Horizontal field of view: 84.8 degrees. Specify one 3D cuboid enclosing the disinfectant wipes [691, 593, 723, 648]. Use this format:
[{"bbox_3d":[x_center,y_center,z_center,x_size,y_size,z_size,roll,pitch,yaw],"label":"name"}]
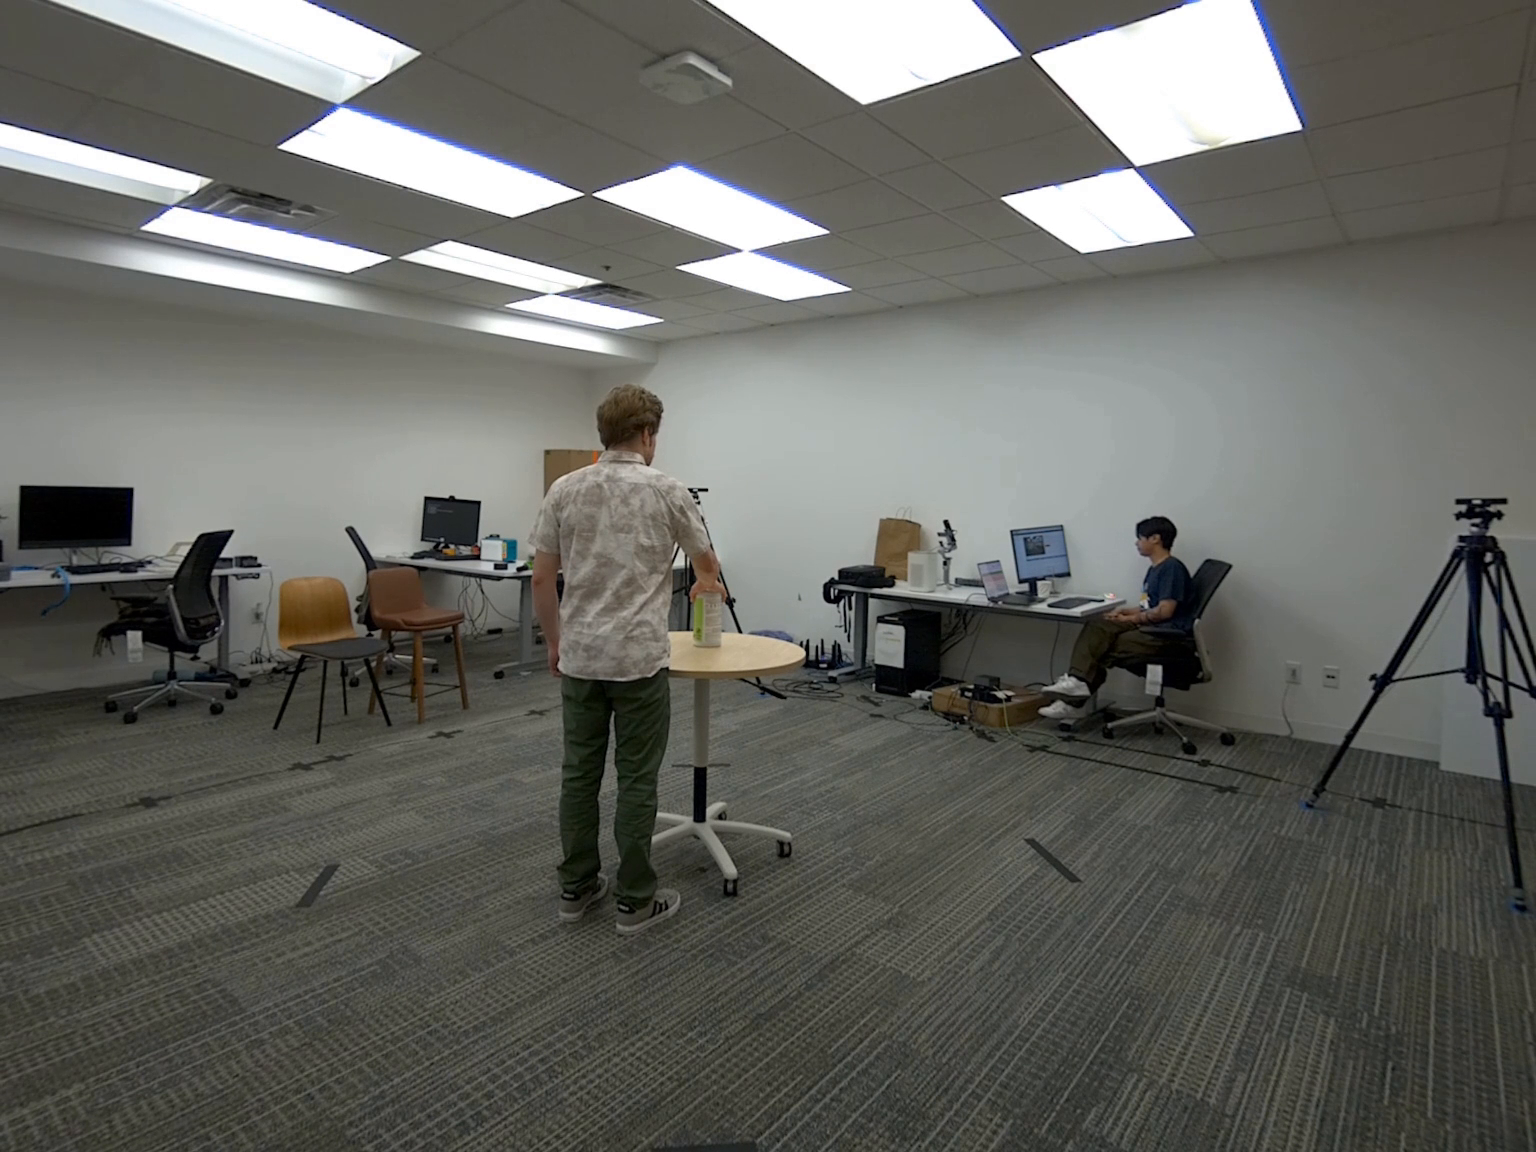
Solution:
[{"bbox_3d":[-0.237,0.156,3.246,0.118,0.216,0.118,-1,4,-2],"label":"disinfectant wipes"}]
